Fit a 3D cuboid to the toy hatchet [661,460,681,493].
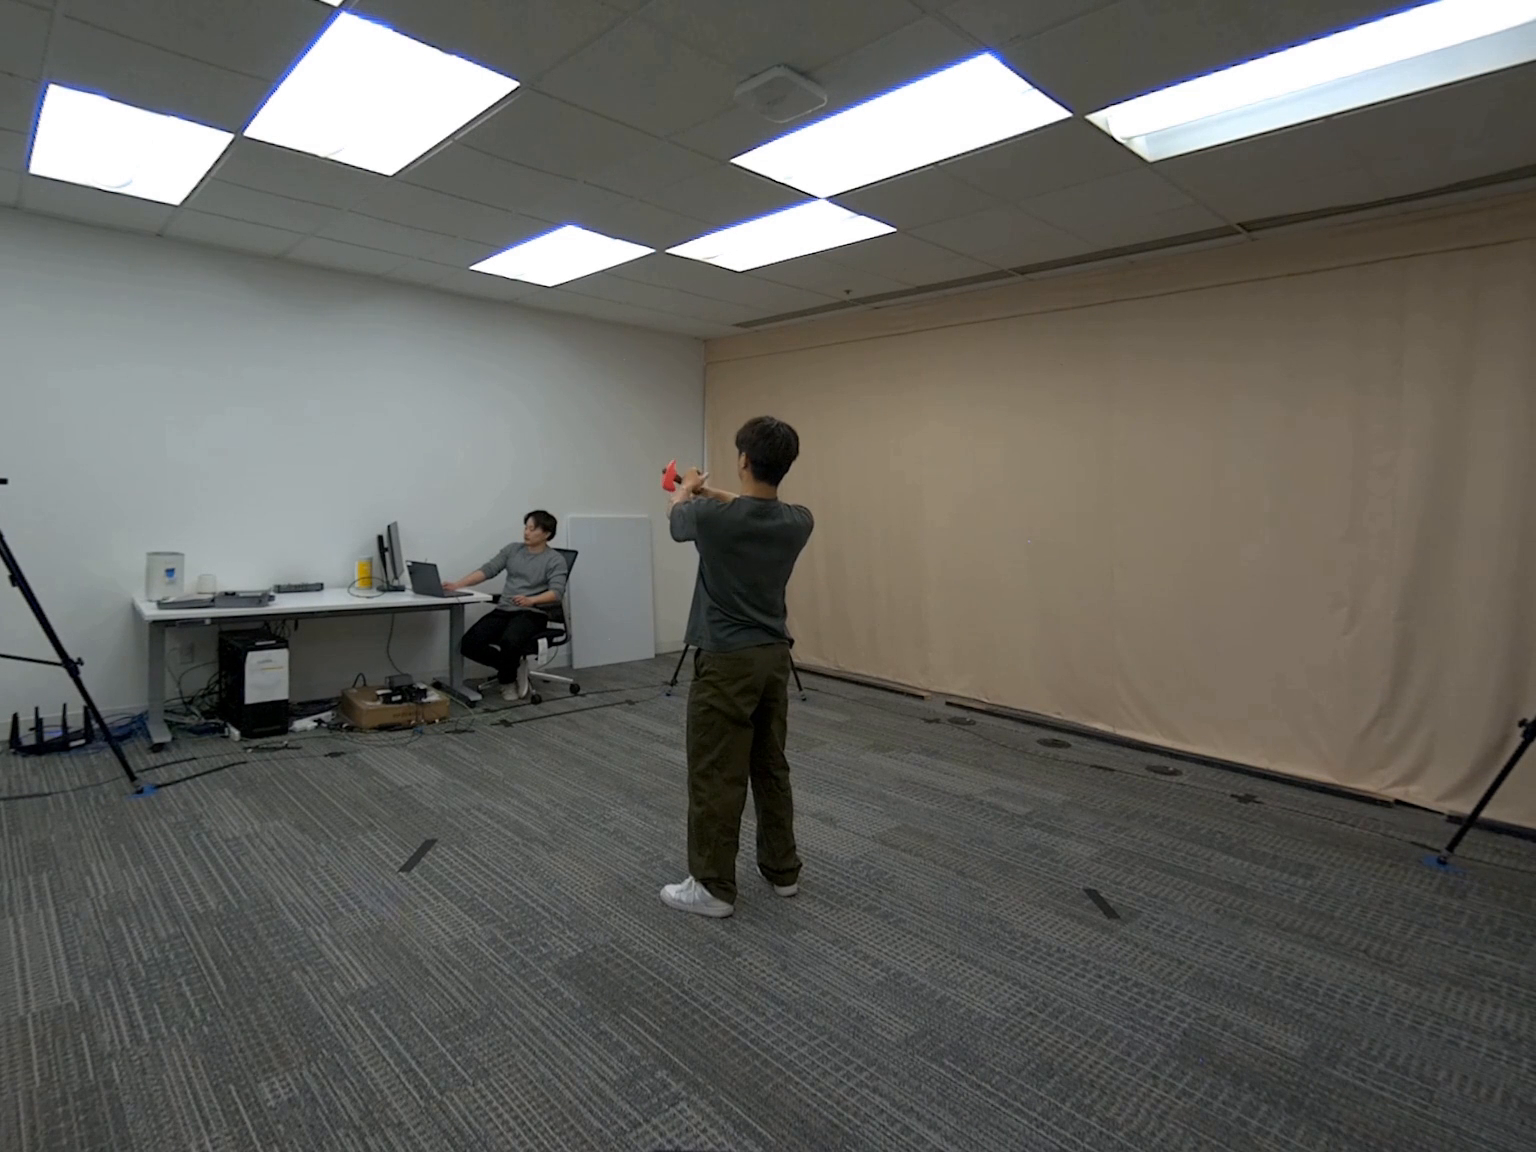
[{"bbox_3d":[-0.329,-0.321,3.315,0.030,0.264,0.131,-12,35,49],"label":"toy hatchet"}]
